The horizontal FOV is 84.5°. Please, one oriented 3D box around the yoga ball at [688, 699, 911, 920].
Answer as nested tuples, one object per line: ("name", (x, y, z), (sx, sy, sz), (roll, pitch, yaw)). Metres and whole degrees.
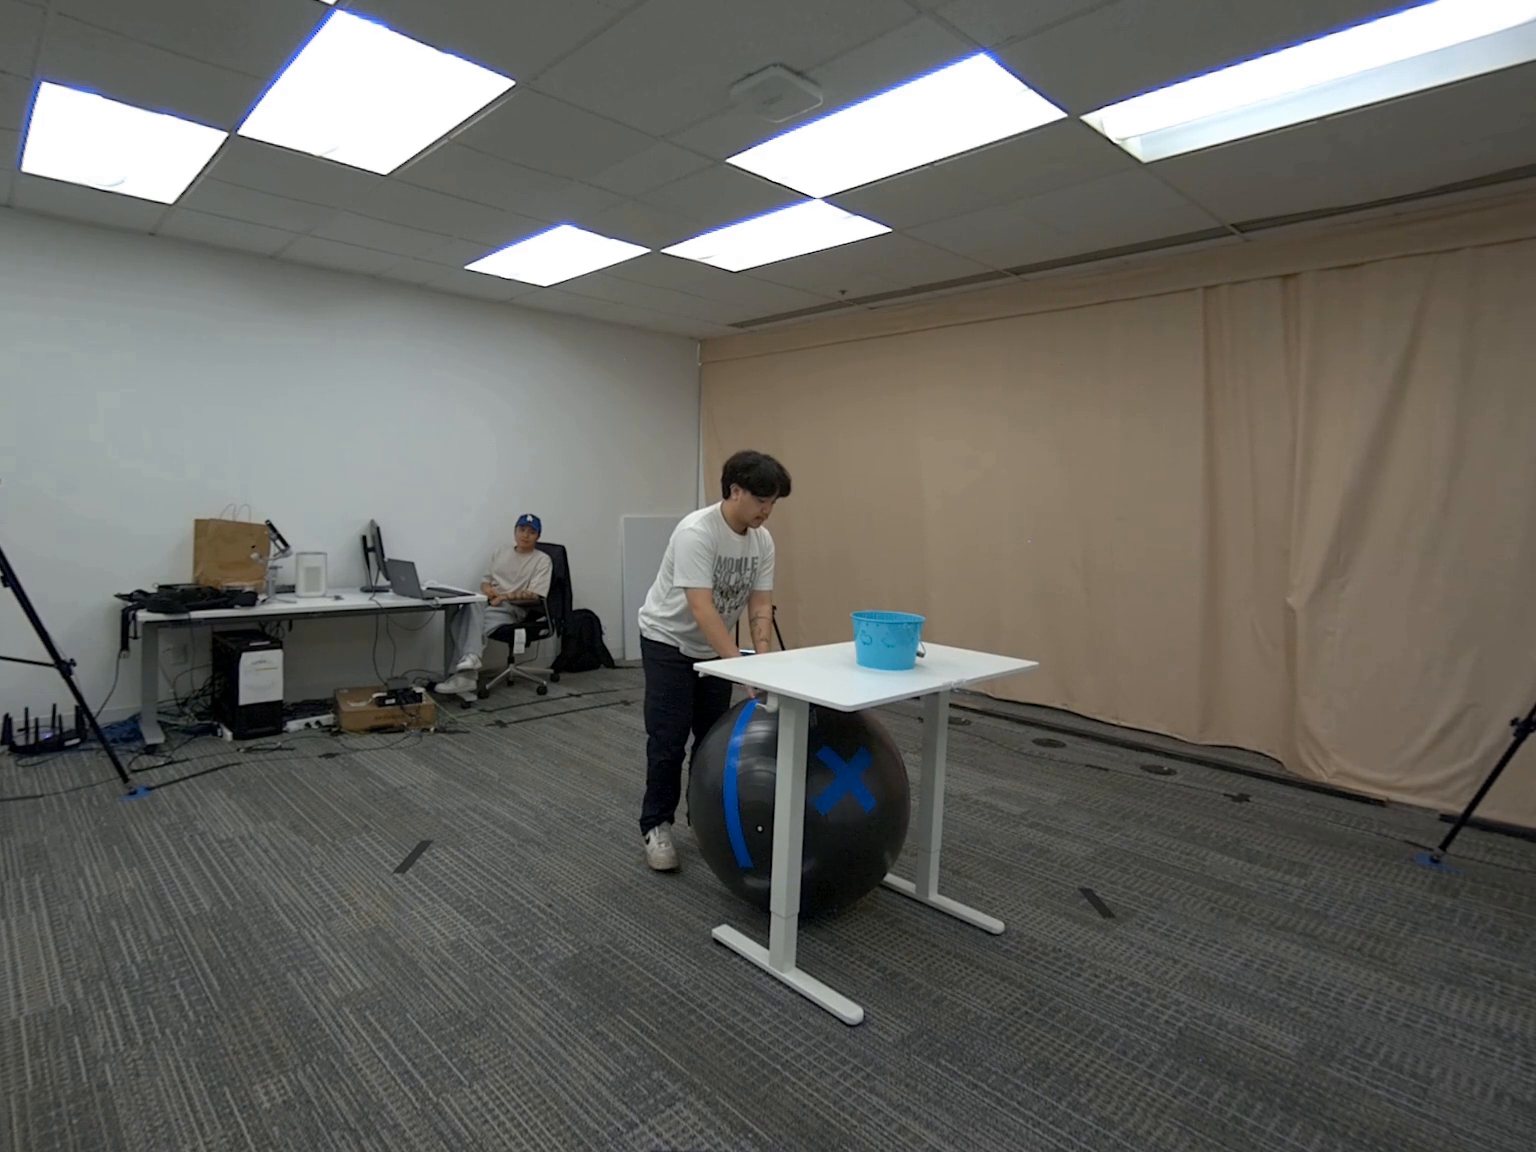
("yoga ball", (0.103, 0.766, 2.897), (0.757, 0.756, 0.761), (1, 4, -1))
